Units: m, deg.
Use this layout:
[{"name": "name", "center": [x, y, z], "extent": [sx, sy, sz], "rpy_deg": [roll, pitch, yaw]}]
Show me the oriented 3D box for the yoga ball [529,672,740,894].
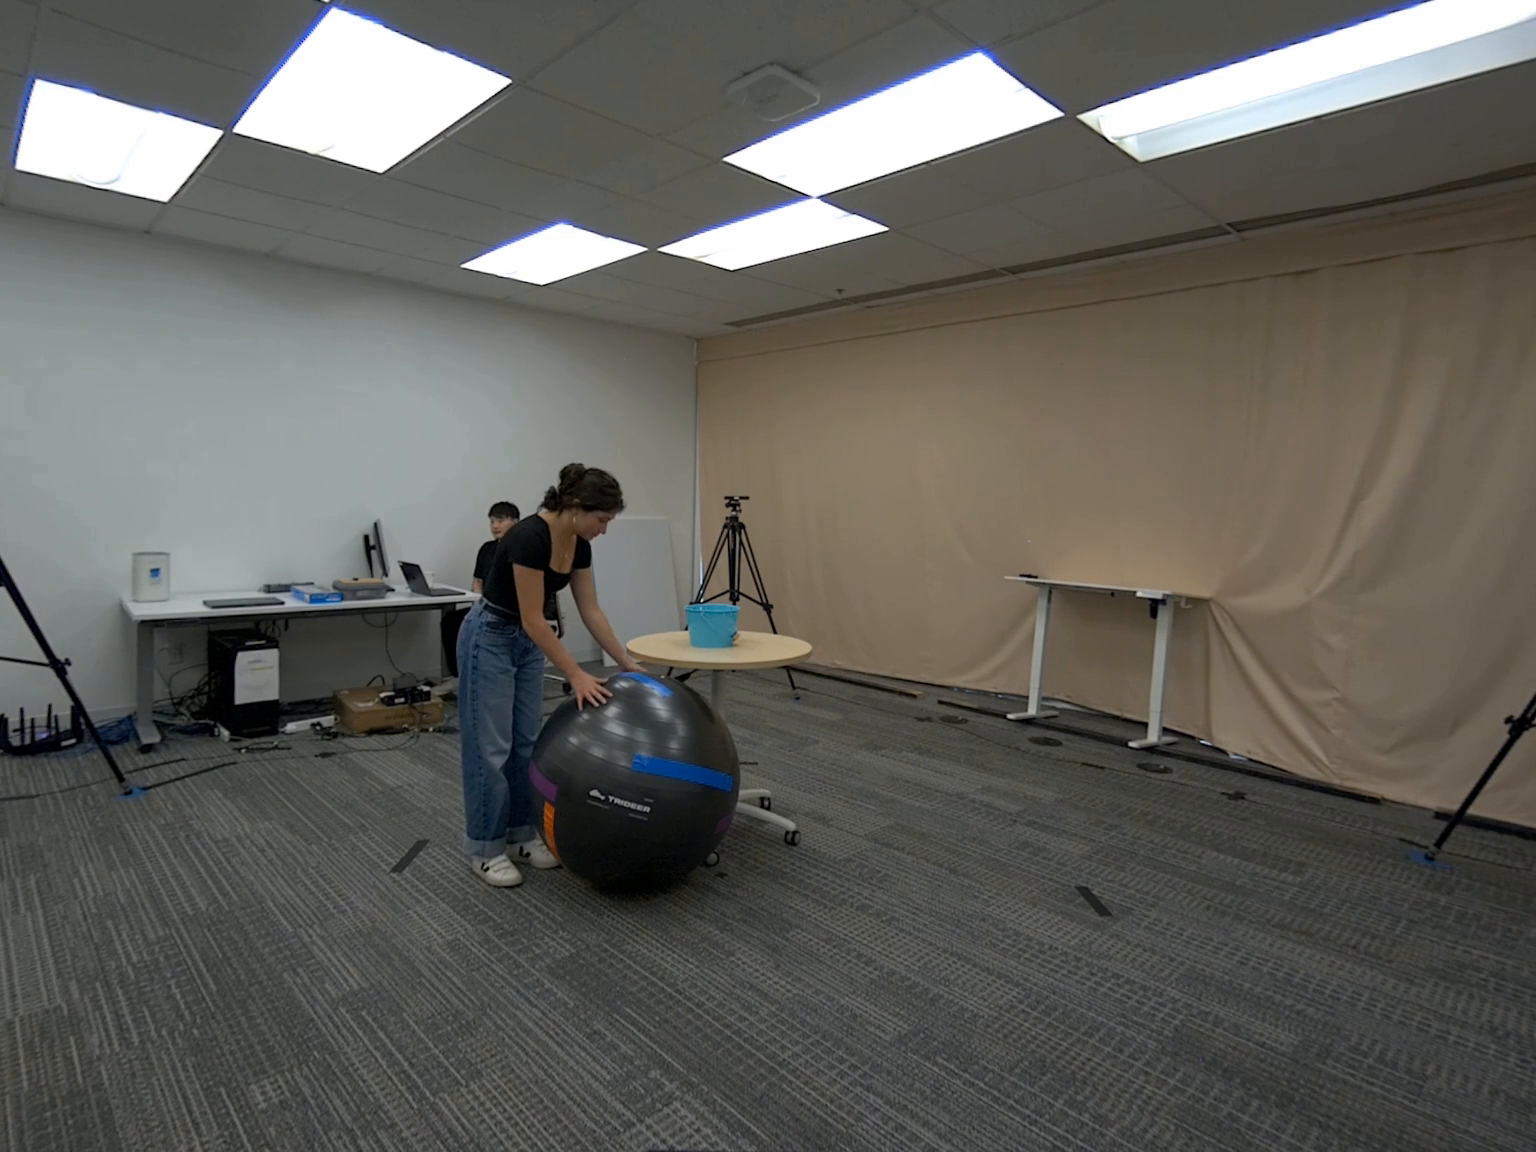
[{"name": "yoga ball", "center": [-0.486, 0.740, 3.037], "extent": [0.757, 0.756, 0.761], "rpy_deg": [1, 4, -1]}]
